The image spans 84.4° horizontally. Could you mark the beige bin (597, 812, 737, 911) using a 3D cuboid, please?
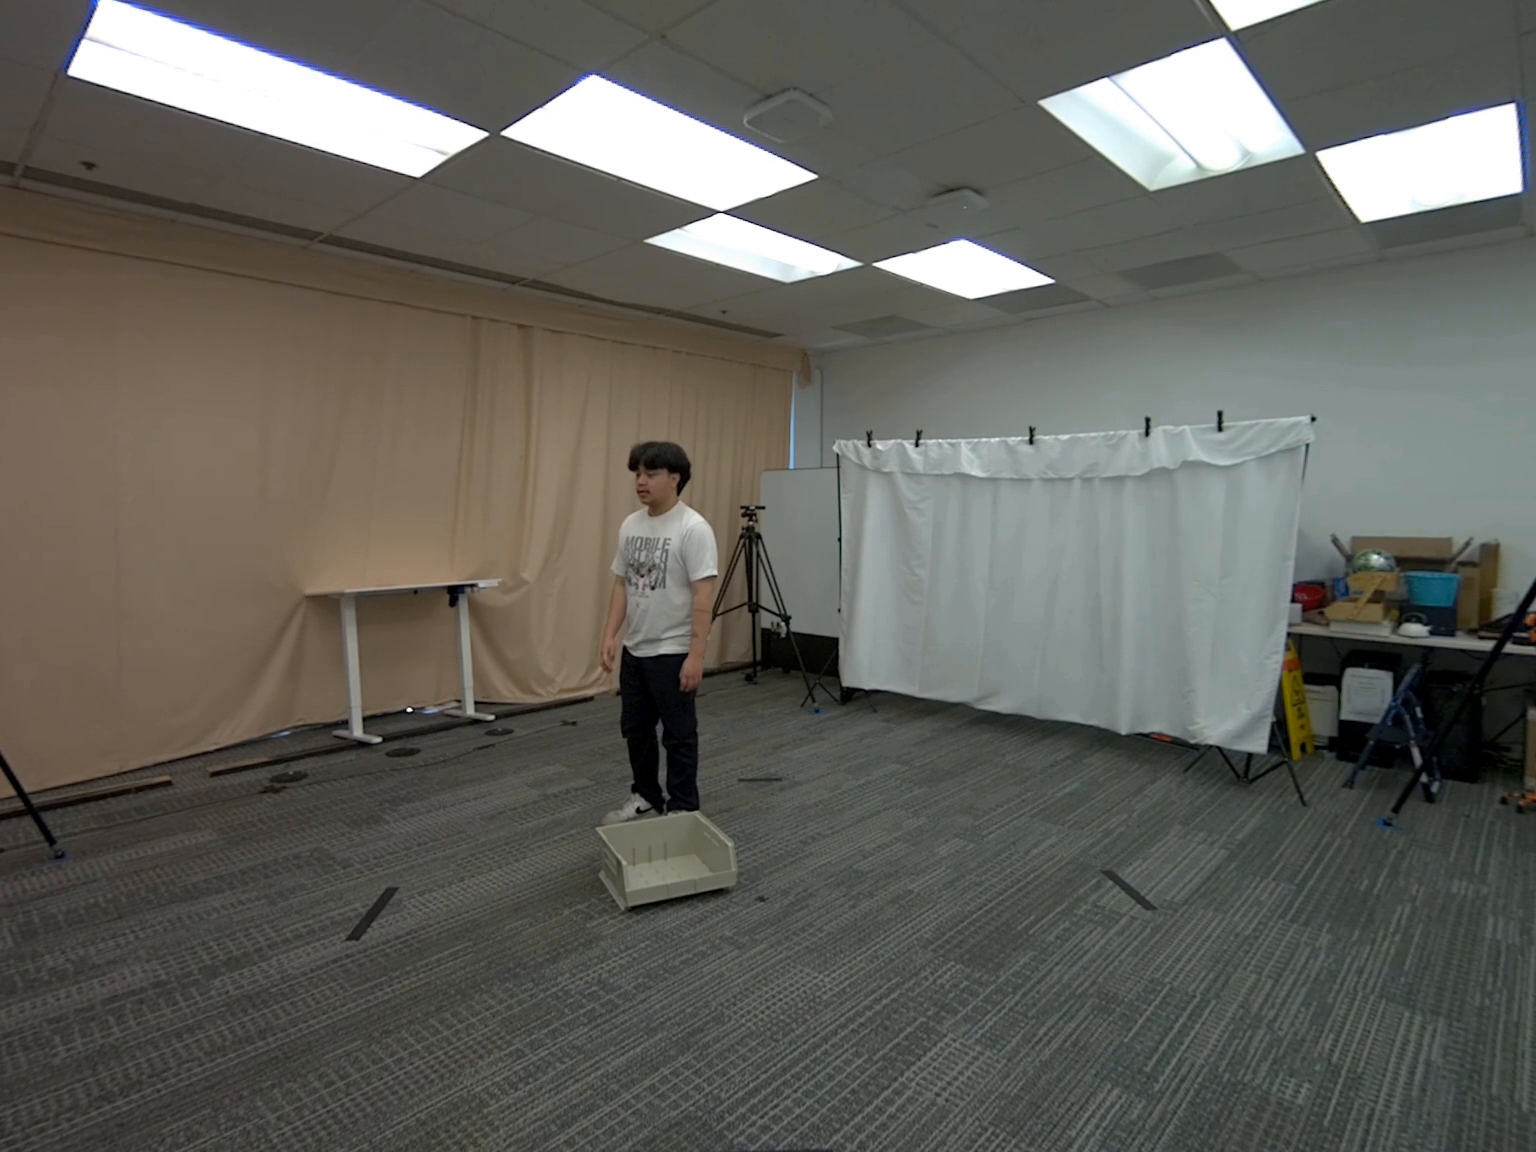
[{"bbox_3d":[-0.378,1.049,3.102,0.413,0.188,0.387,-4,5,-25],"label":"beige bin"}]
